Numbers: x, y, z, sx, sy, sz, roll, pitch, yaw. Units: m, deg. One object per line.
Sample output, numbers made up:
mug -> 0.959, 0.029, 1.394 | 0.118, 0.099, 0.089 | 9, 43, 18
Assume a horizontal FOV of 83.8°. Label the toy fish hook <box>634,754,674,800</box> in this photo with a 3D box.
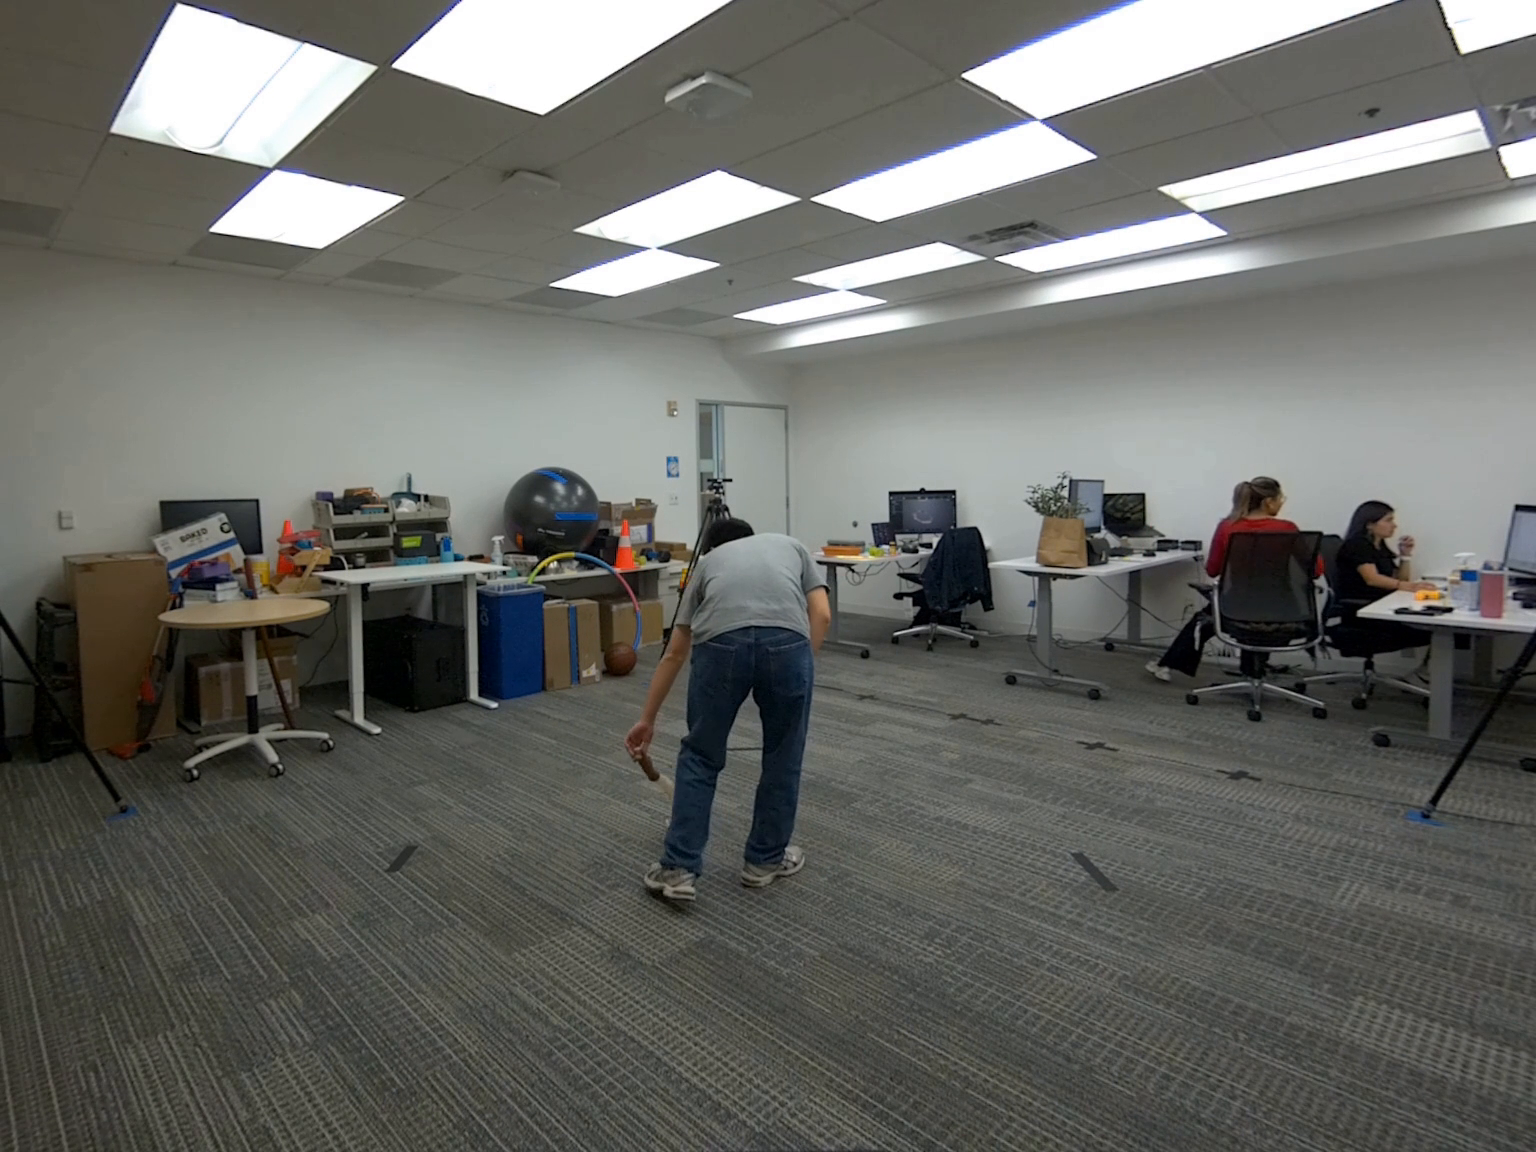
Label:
toy fish hook -> -0.407, 0.831, 3.249 | 0.048, 0.488, 0.232 | -18, 47, 5
